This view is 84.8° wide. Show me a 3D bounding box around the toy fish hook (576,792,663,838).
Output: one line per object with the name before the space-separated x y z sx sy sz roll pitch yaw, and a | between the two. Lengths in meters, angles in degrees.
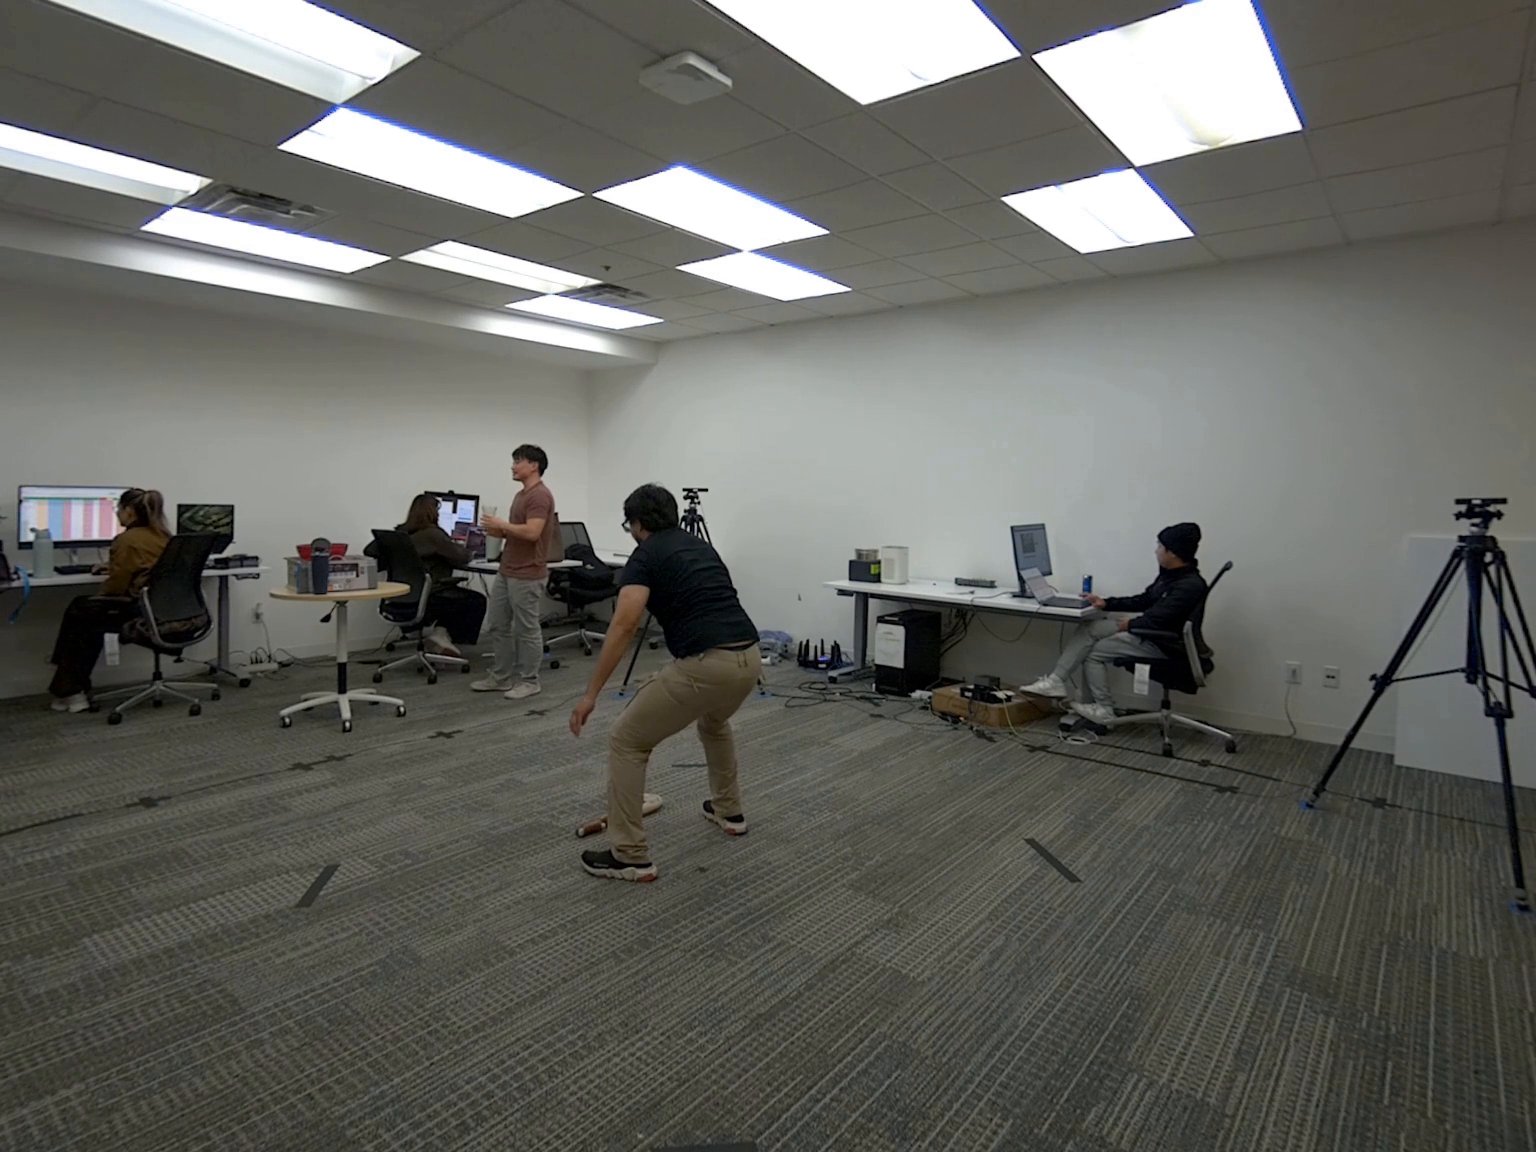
toy fish hook | -0.667 1.001 3.597 0.231 0.048 0.492 -4 1 36
